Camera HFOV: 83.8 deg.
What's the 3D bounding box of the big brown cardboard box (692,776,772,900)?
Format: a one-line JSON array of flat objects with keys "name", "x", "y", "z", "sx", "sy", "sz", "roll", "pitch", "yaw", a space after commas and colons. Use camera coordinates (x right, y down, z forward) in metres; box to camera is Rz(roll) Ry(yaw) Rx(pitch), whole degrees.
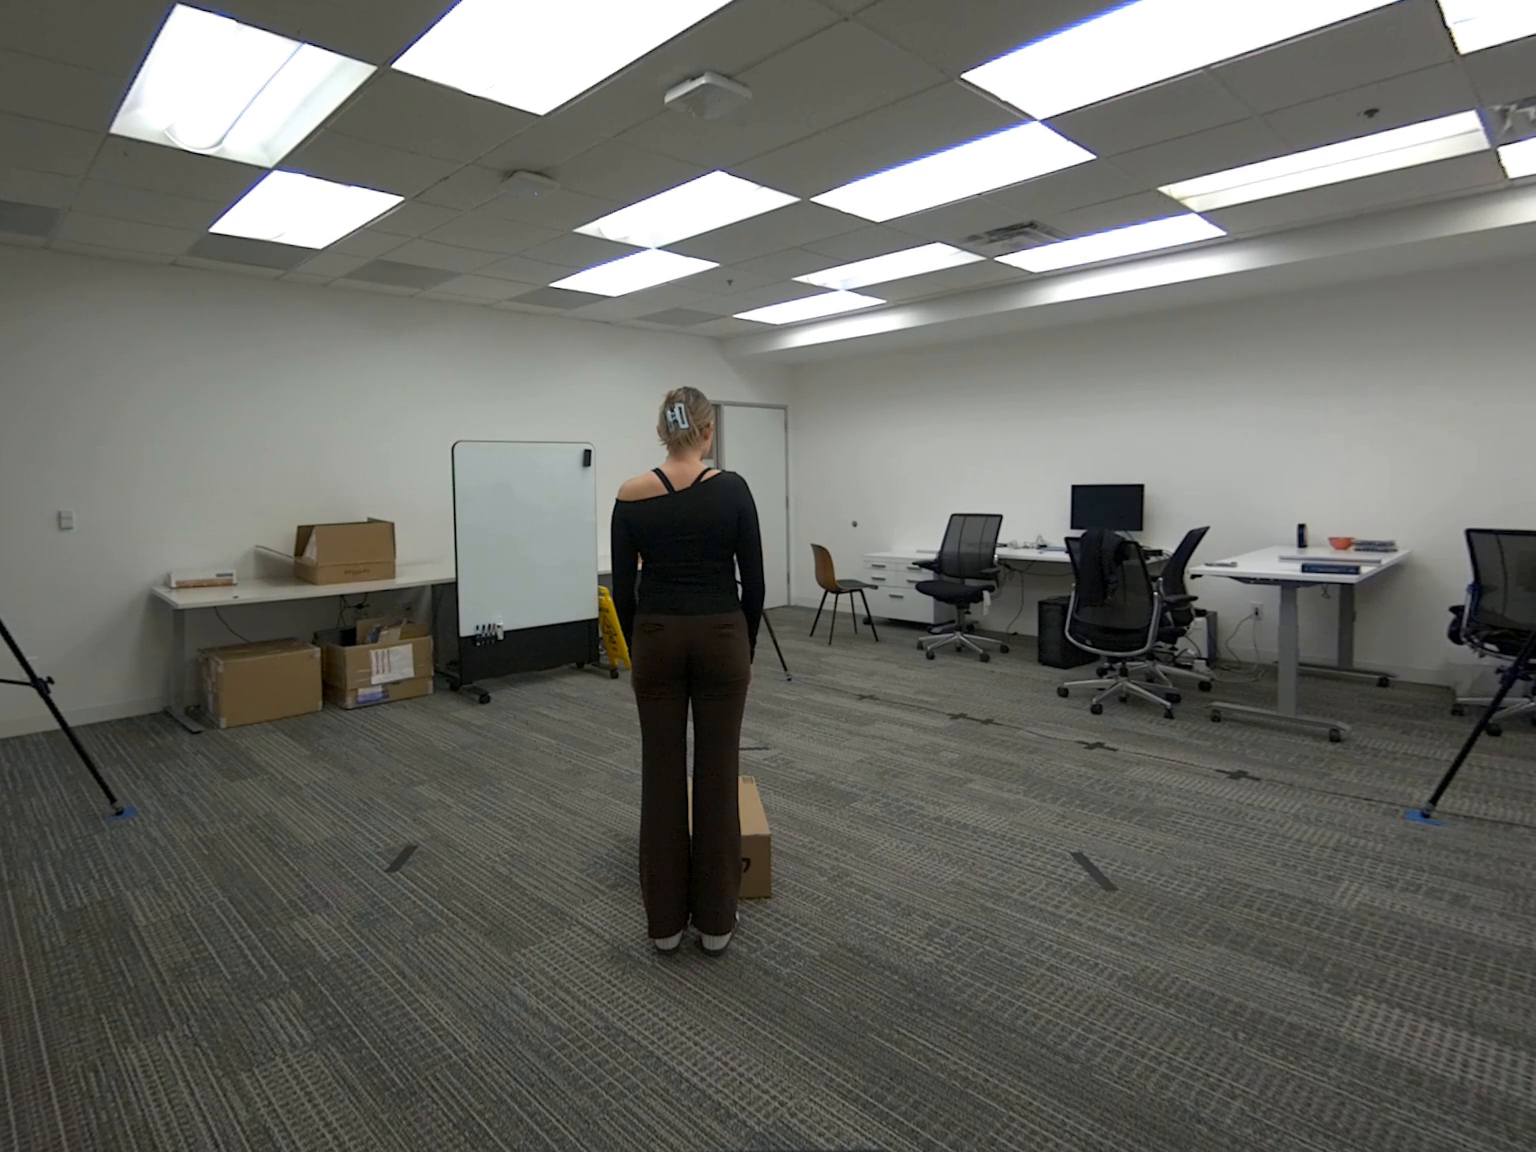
[{"name": "big brown cardboard box", "x": -0.224, "y": 0.935, "z": 3.111, "sx": 0.415, "sy": 0.232, "sz": 0.595, "roll": -2, "pitch": 7, "yaw": -6}]
